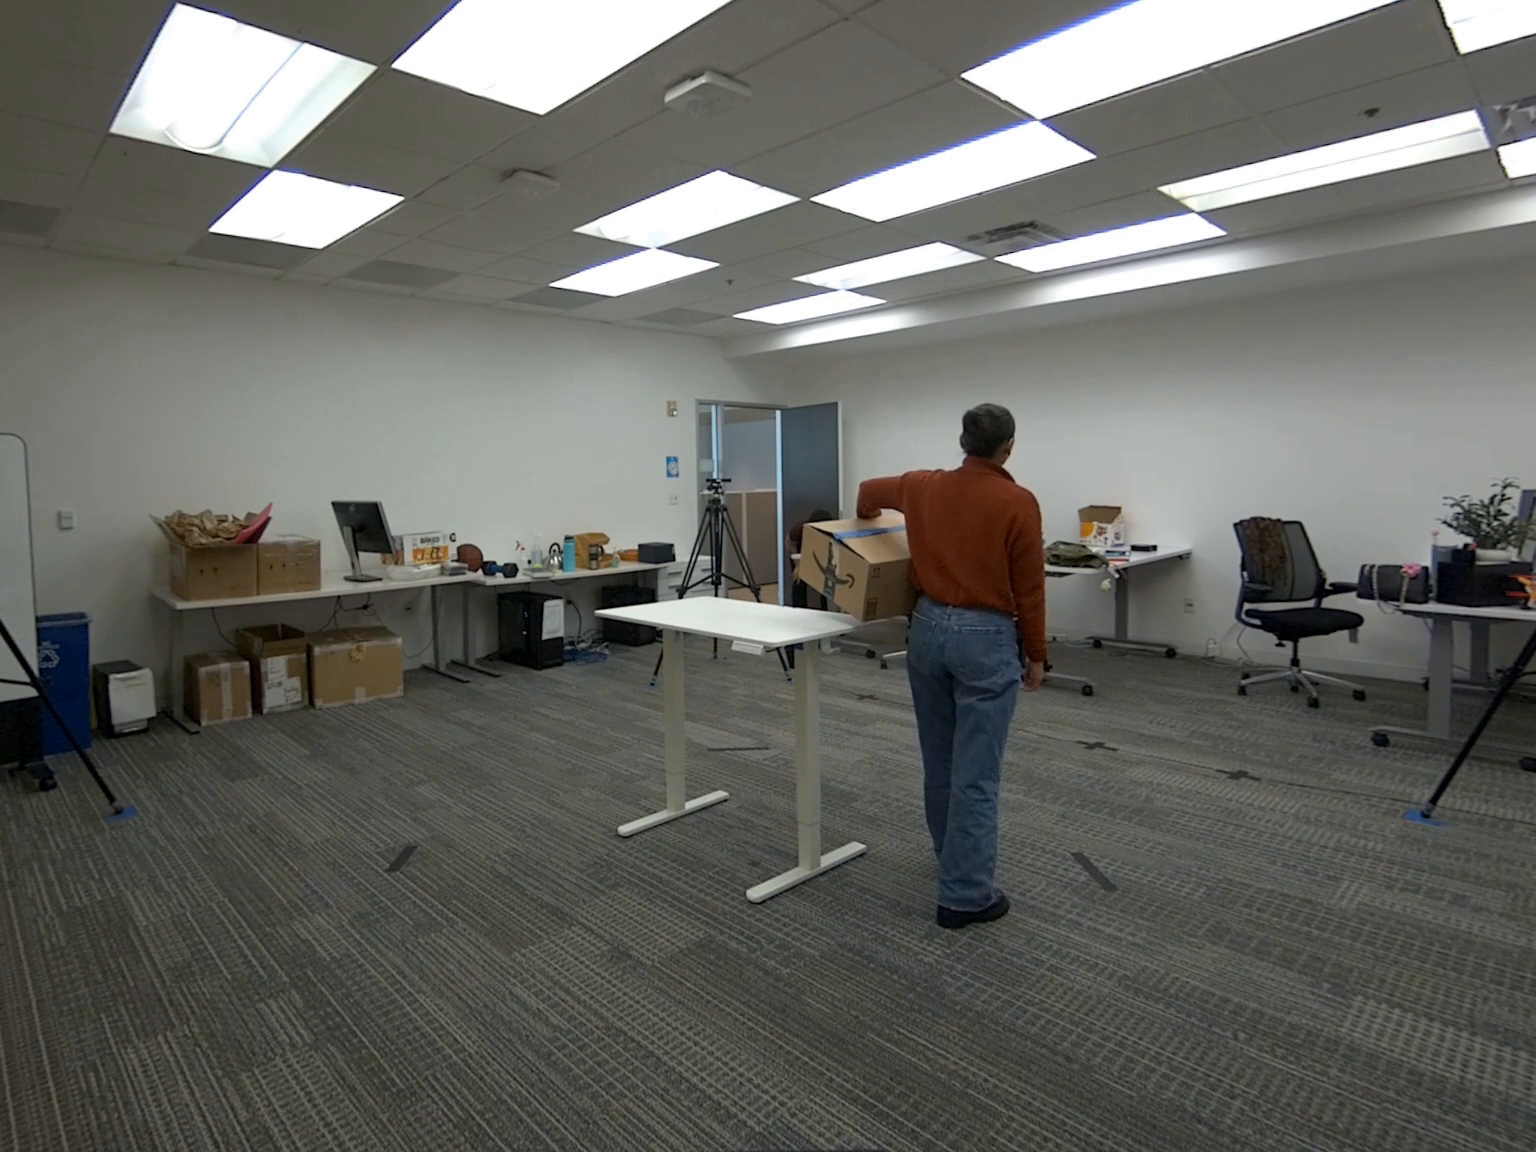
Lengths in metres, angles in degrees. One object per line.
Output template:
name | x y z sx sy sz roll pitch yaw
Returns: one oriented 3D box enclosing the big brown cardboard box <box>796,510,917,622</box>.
big brown cardboard box | 0.467 -0.058 3.111 0.577 0.229 0.433 -8 24 -28
